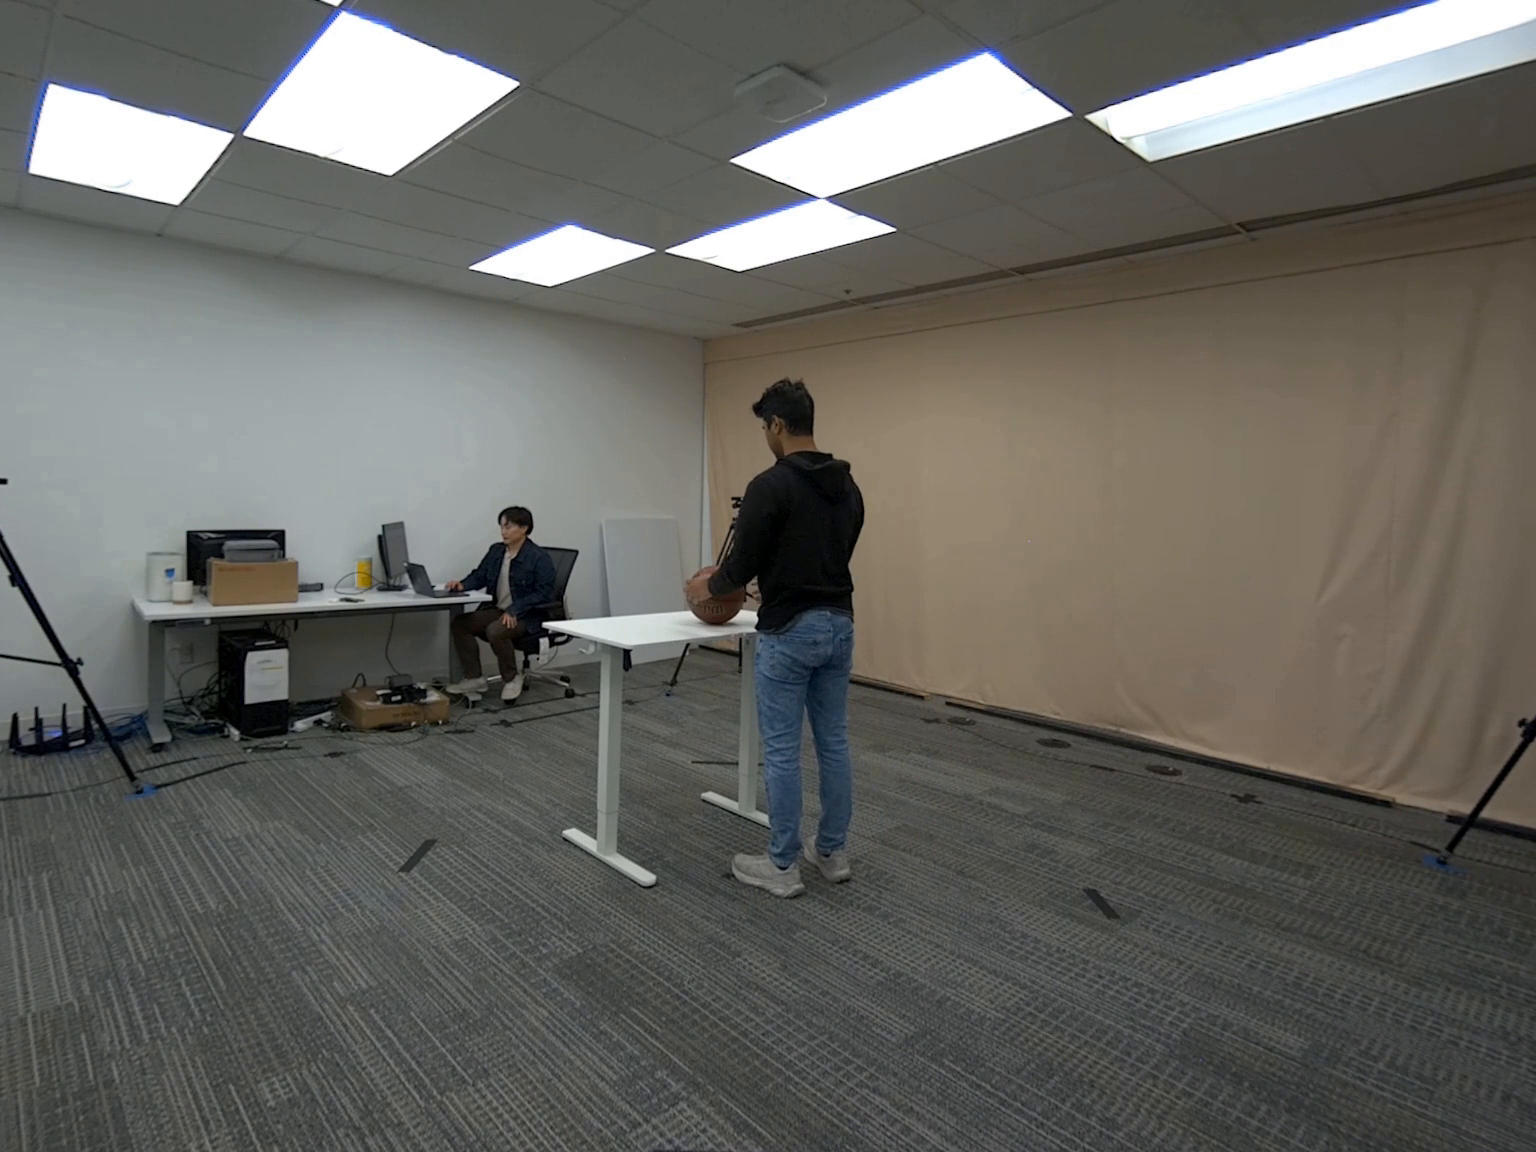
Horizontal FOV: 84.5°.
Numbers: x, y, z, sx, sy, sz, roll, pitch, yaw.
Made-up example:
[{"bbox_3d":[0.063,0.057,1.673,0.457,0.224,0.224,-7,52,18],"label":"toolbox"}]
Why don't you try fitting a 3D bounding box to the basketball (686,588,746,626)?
[{"bbox_3d":[-0.214,0.075,3.427,0.236,0.235,0.237,1,4,-1],"label":"basketball"}]
